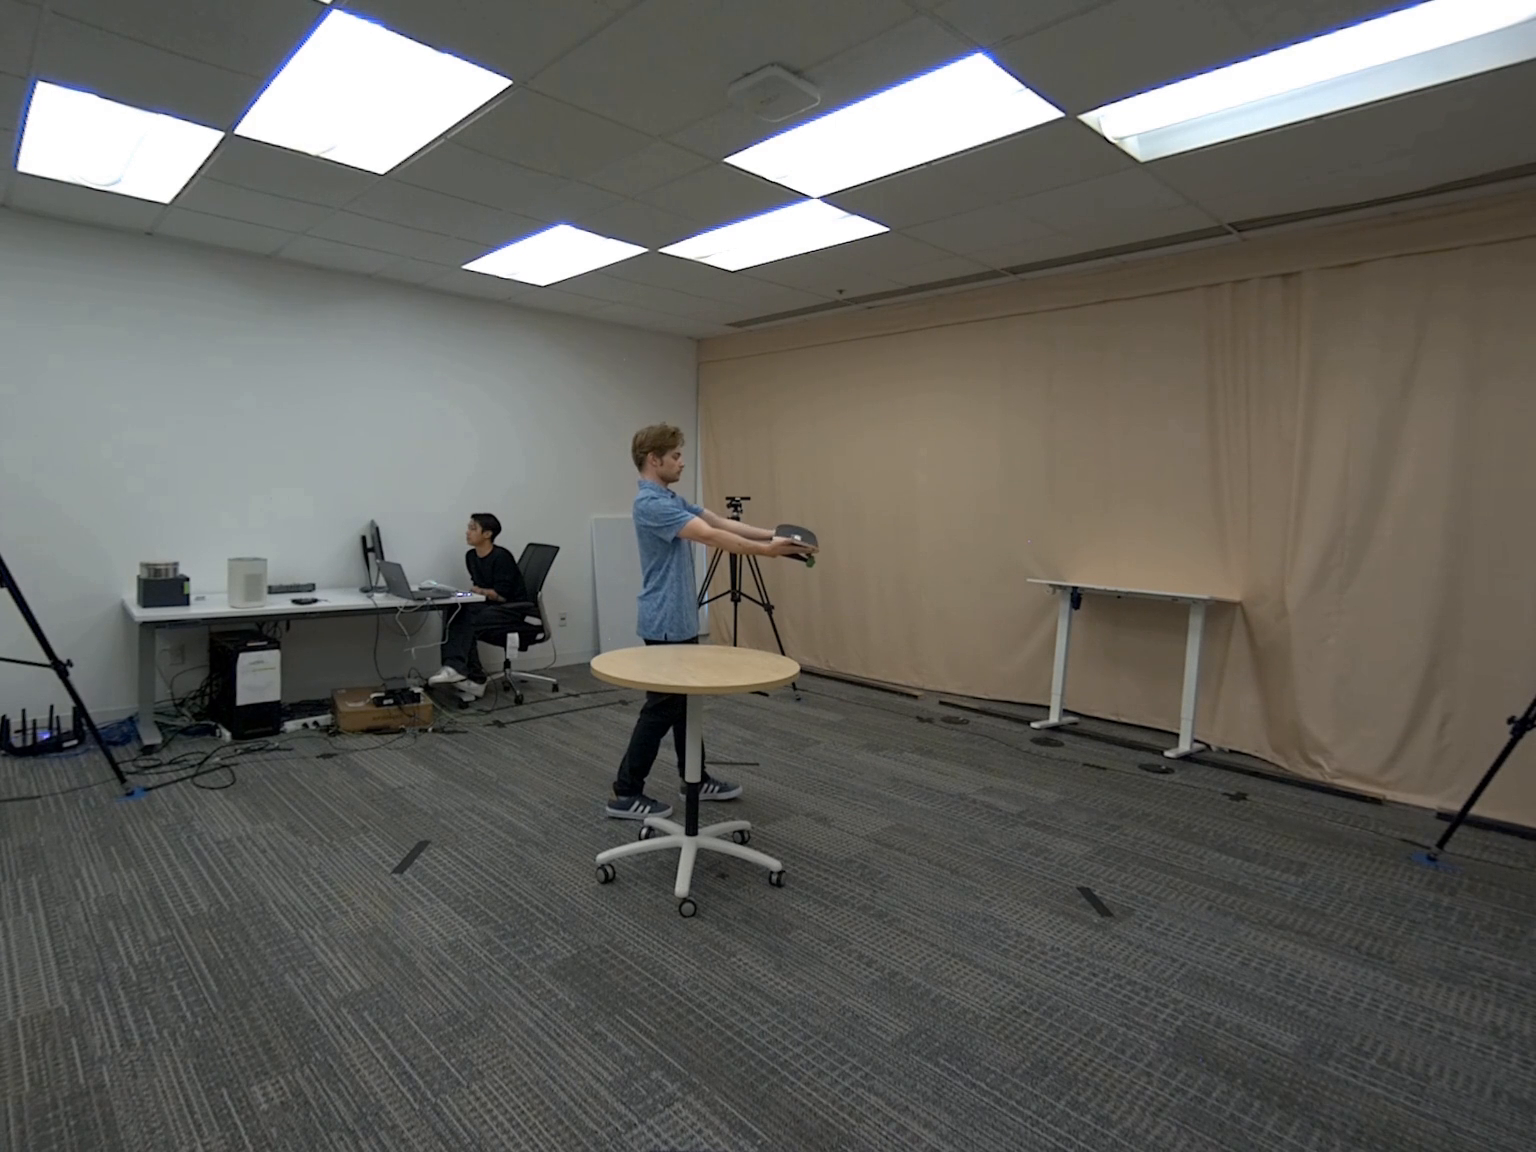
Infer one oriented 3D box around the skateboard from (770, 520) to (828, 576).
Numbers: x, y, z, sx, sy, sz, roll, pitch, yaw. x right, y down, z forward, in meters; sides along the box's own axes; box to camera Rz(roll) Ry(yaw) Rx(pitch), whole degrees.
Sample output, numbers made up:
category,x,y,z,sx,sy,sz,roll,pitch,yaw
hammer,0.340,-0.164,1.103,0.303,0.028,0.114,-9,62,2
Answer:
category,x,y,z,sx,sy,sz,roll,pitch,yaw
skateboard,0.114,-0.135,3.648,0.193,0.110,0.789,16,7,-3
